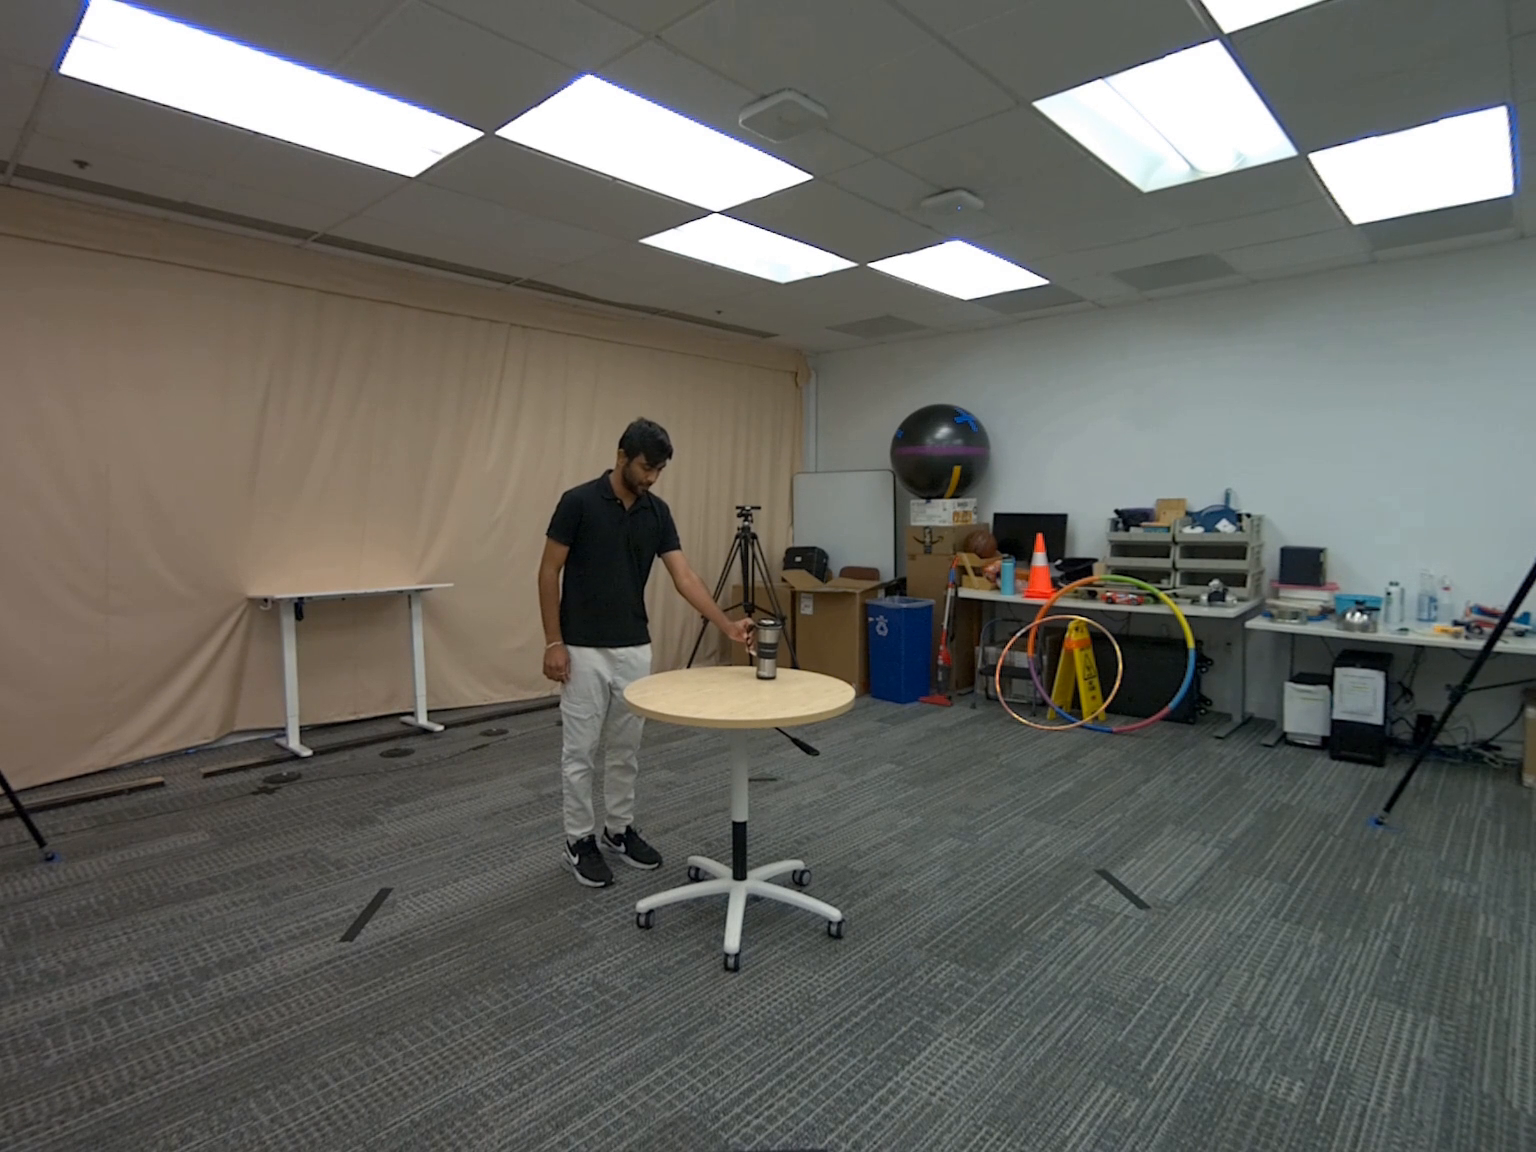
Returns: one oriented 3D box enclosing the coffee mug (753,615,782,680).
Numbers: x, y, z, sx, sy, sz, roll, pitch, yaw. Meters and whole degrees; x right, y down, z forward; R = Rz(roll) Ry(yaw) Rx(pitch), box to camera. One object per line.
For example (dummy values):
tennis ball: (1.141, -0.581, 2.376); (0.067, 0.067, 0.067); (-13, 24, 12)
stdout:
coffee mug: (-0.009, 0.257, 2.976); (0.085, 0.202, 0.126); (-3, 9, -39)
